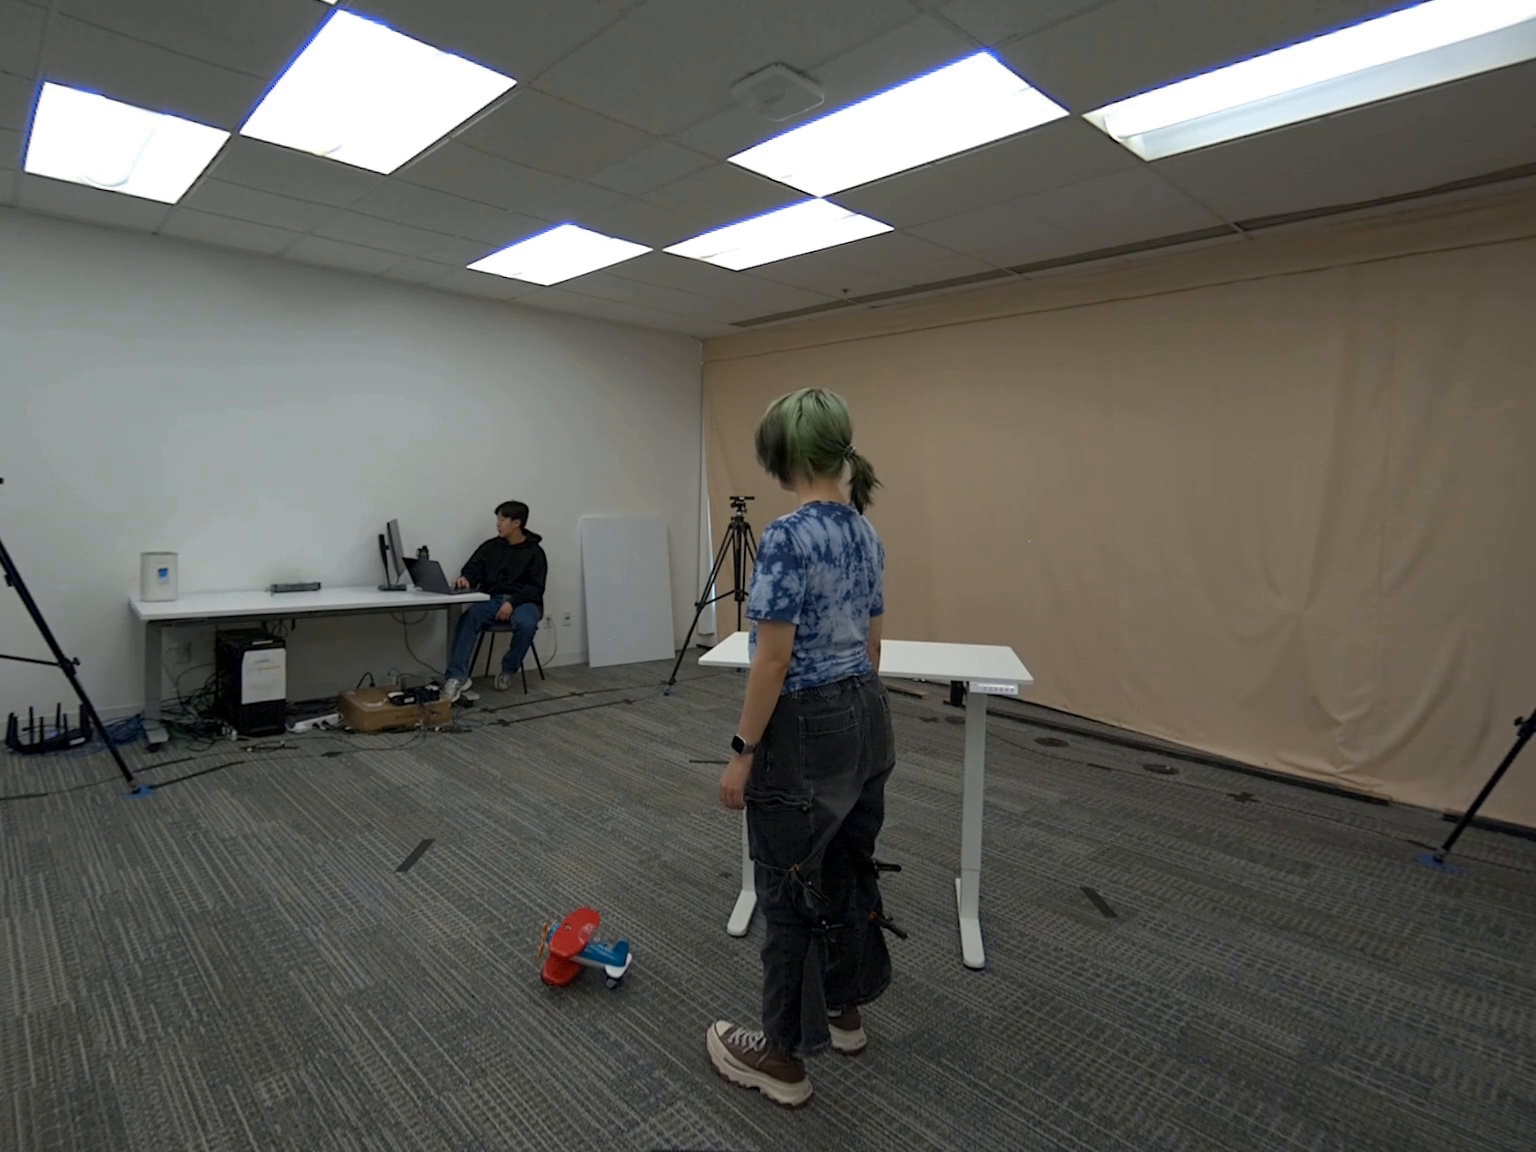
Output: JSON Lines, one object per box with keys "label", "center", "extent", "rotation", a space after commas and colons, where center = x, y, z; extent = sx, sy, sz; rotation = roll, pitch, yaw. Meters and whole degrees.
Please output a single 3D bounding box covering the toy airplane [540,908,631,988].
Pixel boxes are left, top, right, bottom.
{"label": "toy airplane", "center": [-0.532, 1.086, 2.426], "extent": [0.256, 0.156, 0.255], "rotation": [0, 5, -18]}
